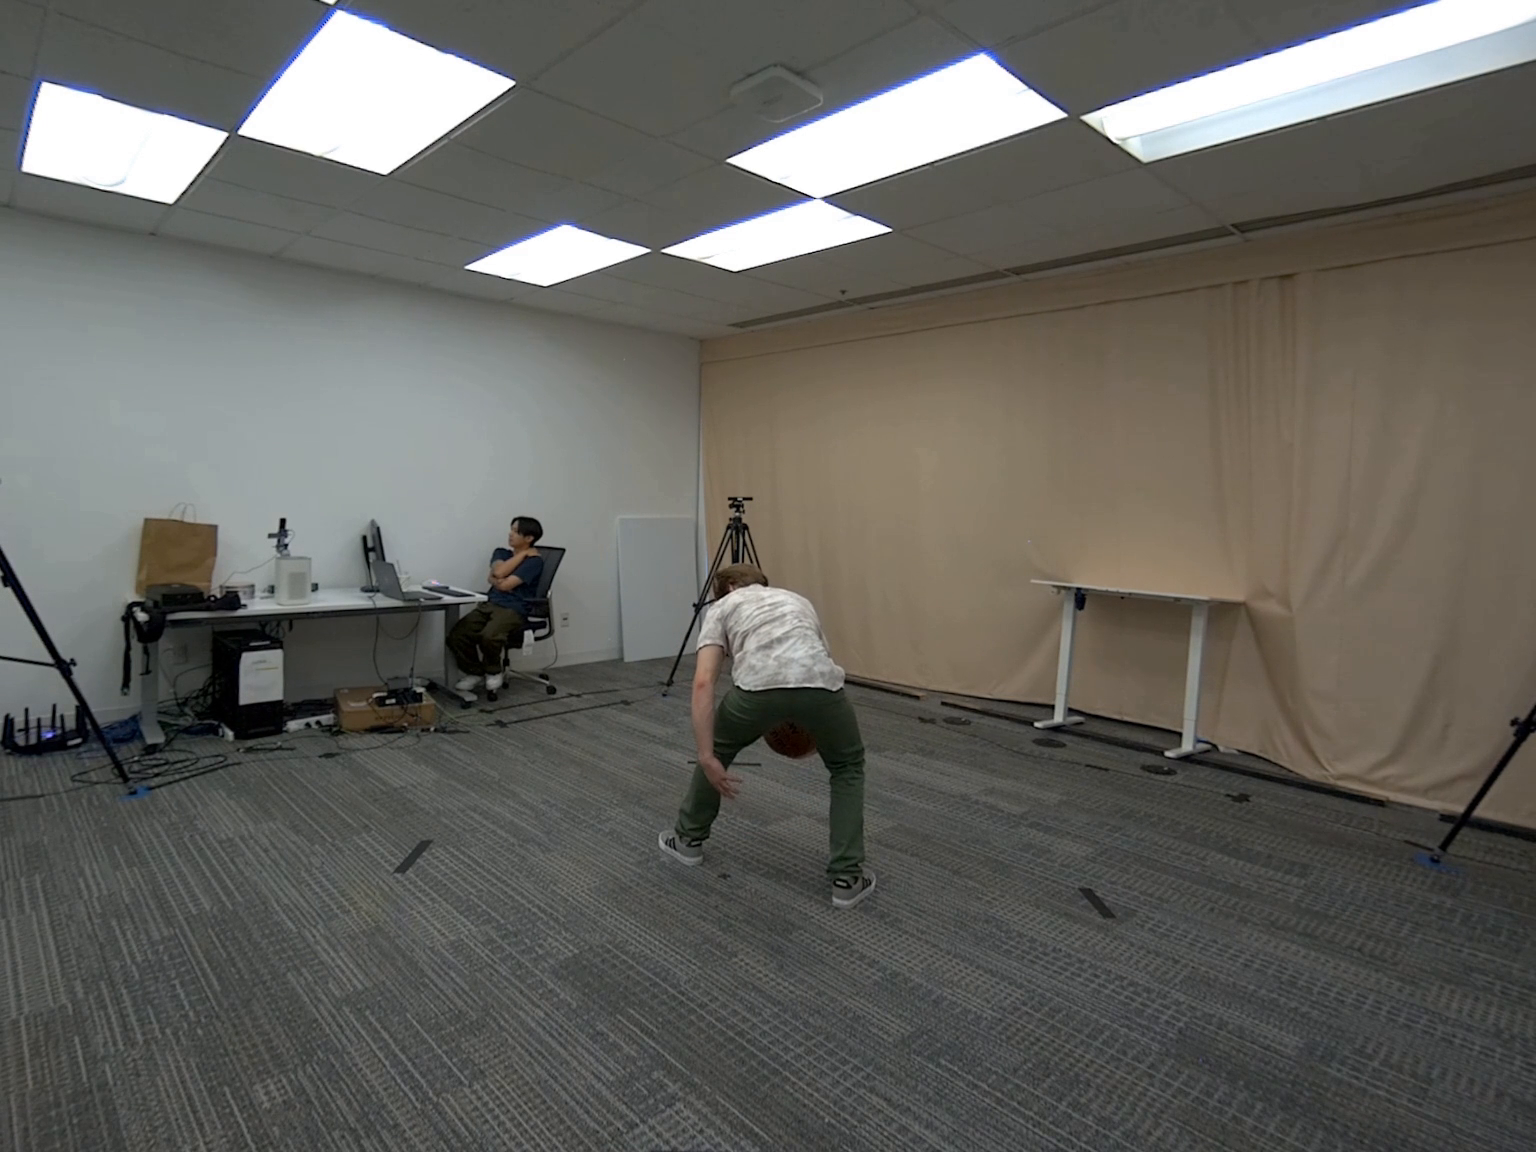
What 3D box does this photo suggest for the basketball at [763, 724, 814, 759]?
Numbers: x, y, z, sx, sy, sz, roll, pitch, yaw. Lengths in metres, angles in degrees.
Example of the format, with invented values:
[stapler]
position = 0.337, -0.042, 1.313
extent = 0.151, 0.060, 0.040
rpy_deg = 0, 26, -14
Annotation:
[basketball]
position = 0.085, 0.615, 3.404
extent = 0.236, 0.235, 0.237
rpy_deg = 1, 4, -1
